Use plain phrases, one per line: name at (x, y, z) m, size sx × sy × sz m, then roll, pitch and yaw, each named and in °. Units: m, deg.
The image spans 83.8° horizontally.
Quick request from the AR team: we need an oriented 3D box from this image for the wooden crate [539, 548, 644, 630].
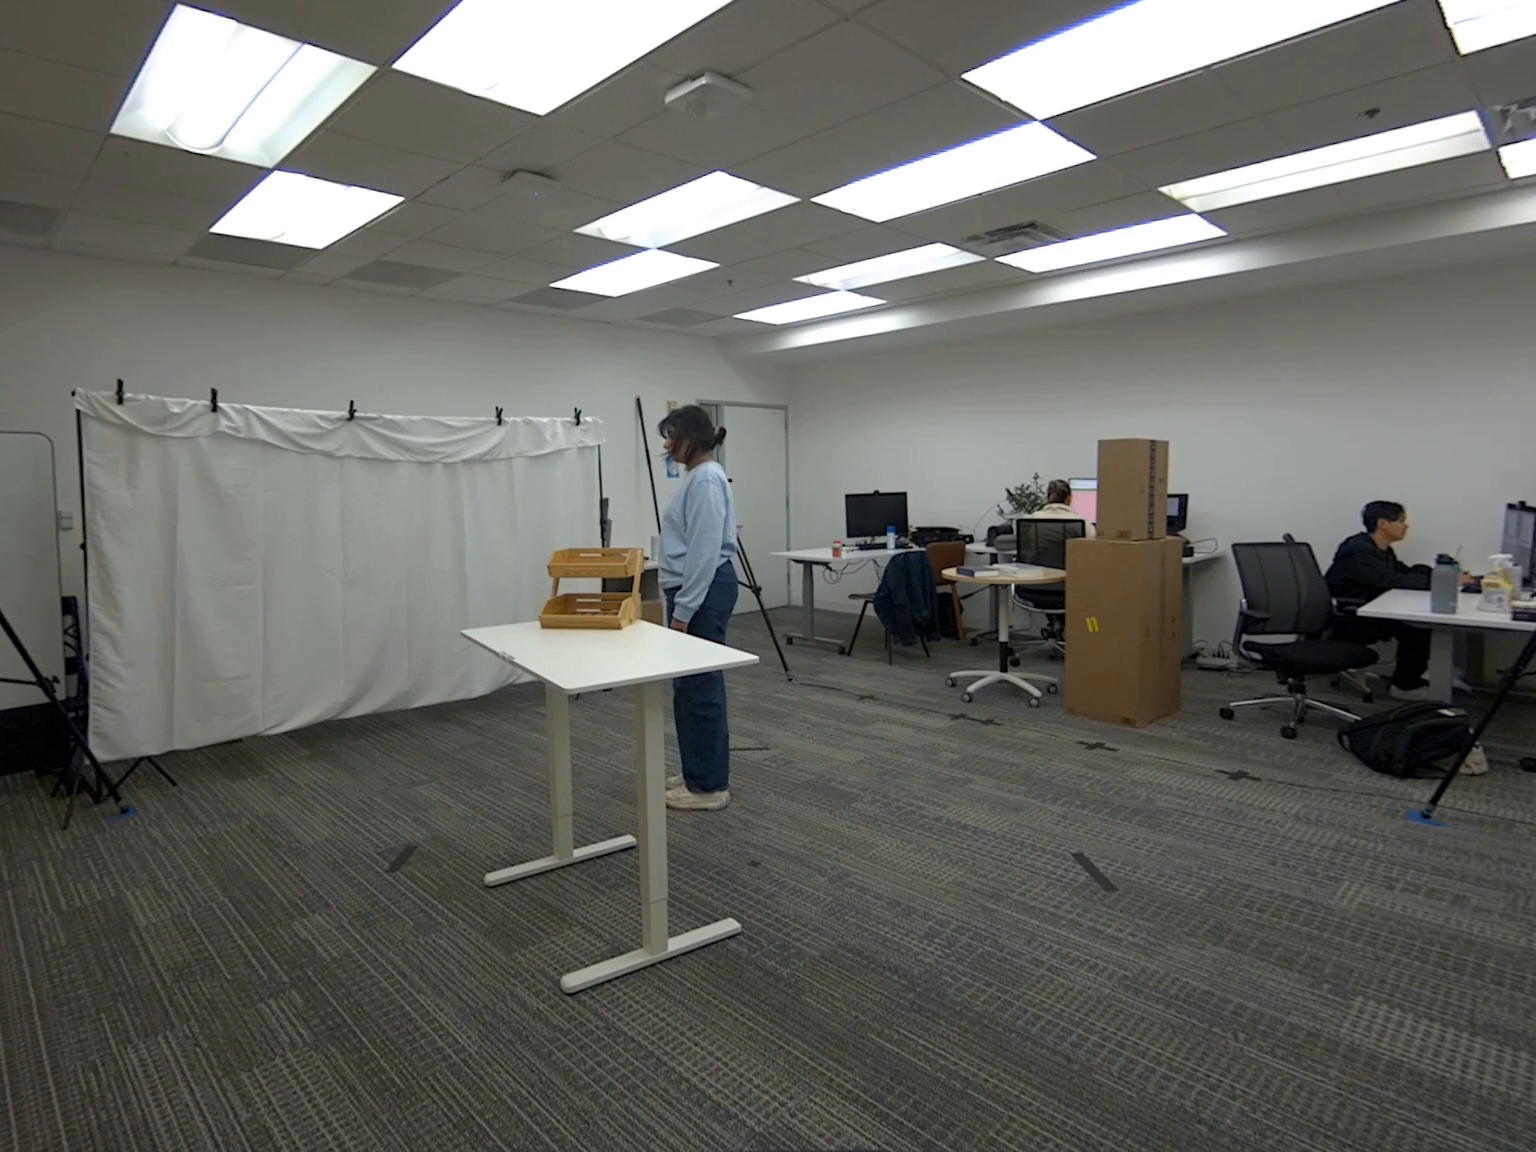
wooden crate at (-0.640, 0.038, 3.103) m, size 0.328 × 0.272 × 0.300 m, roll 0°, pitch 5°, yaw 10°
